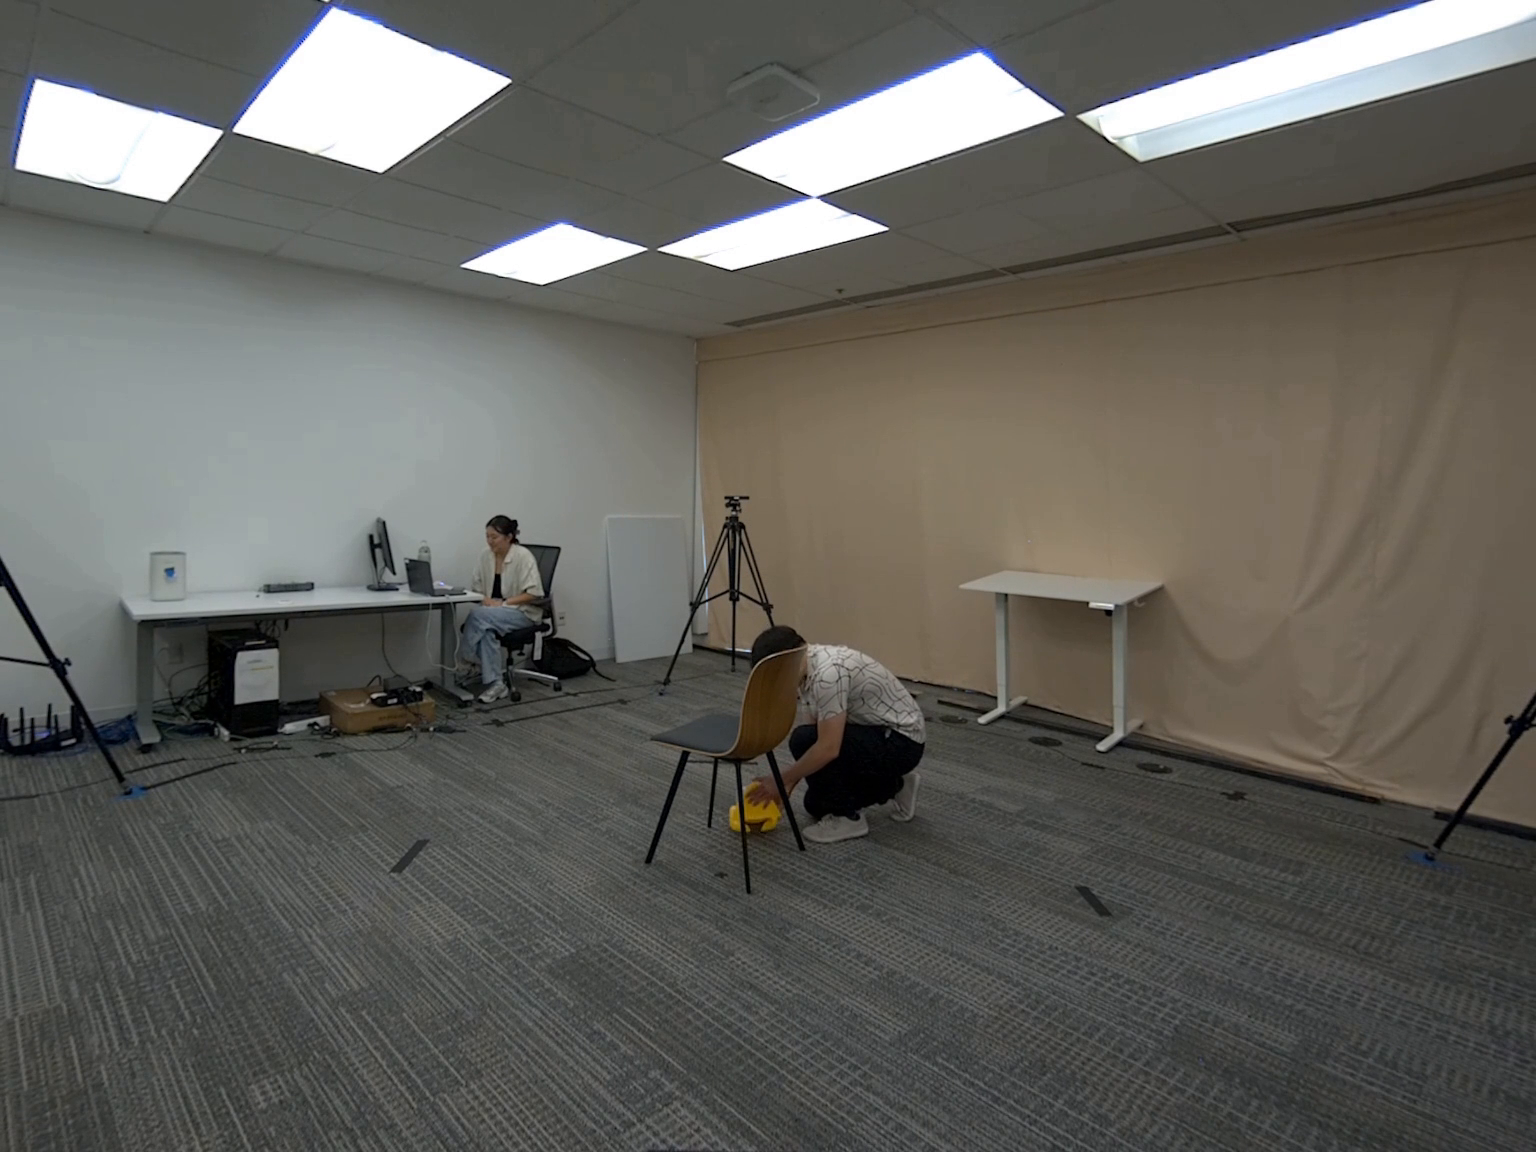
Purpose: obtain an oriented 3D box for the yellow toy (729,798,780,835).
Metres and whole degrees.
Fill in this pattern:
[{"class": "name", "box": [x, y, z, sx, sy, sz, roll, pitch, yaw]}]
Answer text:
[{"class": "yellow toy", "box": [-0.071, 0.912, 3.464, 0.203, 0.227, 0.197, -4, 21, -12]}]
